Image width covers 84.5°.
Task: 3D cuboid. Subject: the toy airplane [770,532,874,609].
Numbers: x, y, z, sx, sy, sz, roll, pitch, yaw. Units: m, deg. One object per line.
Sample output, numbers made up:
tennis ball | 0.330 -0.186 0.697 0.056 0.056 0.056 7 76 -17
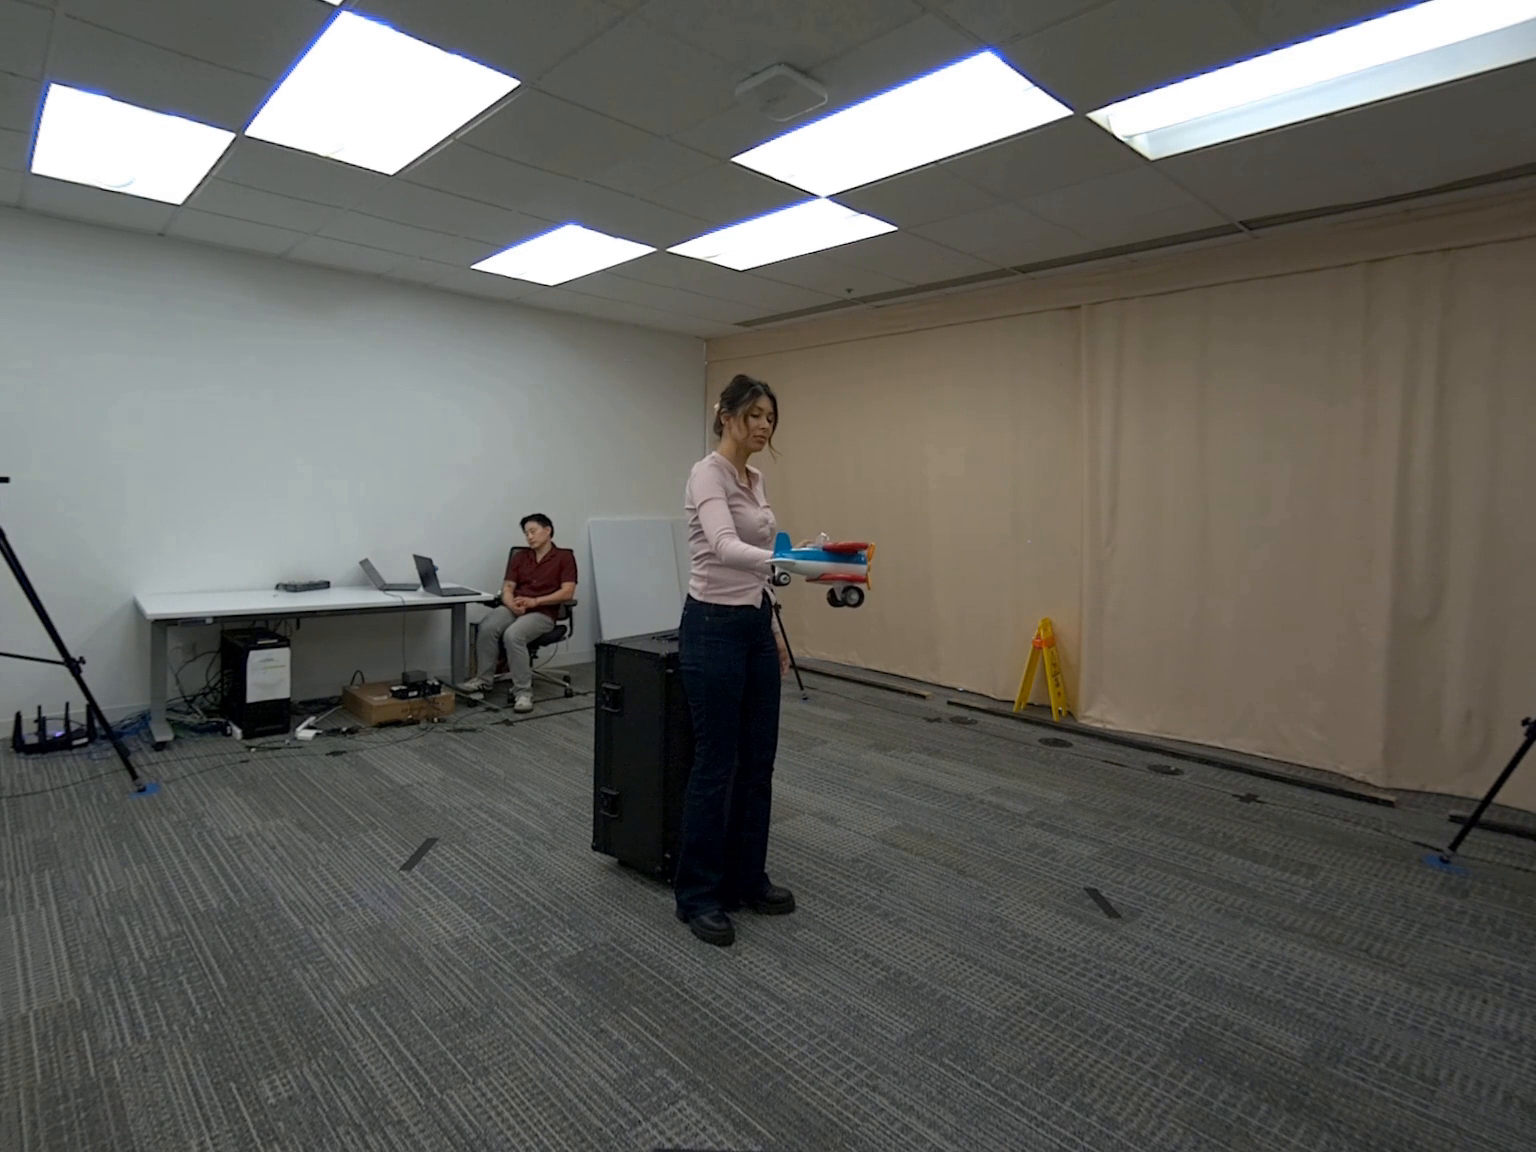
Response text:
toy airplane | 0.127 -0.020 2.059 0.257 0.157 0.251 7 -14 45
